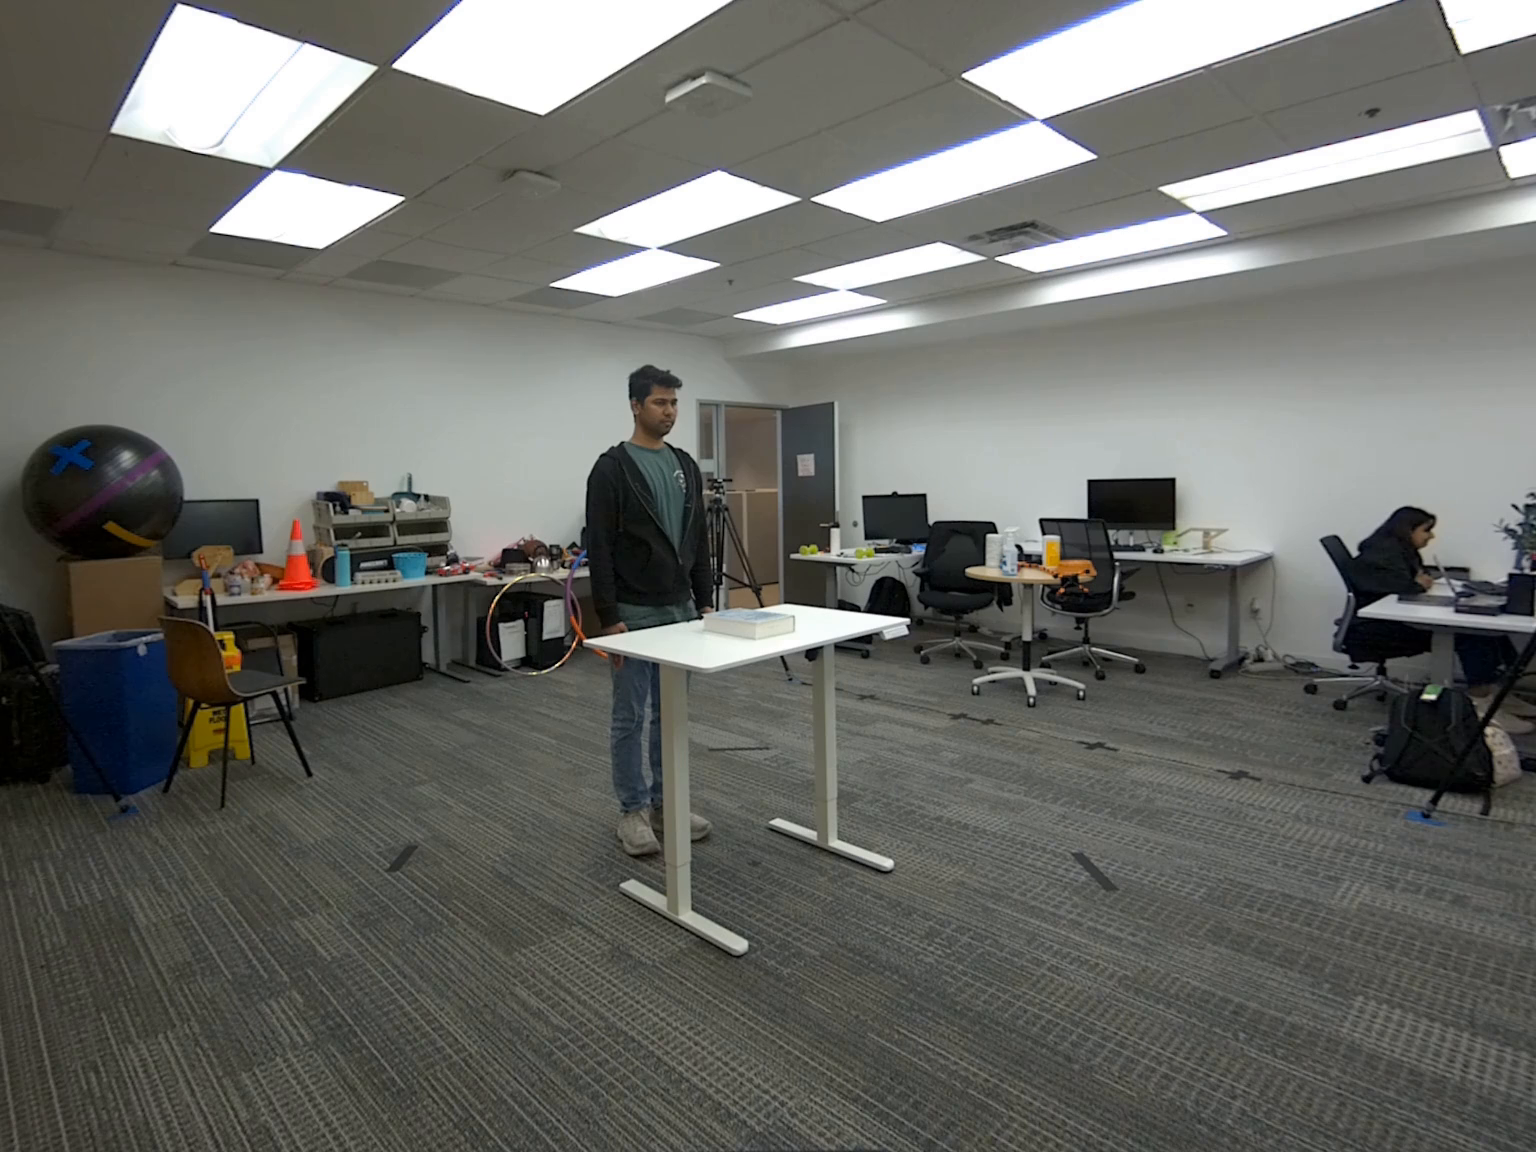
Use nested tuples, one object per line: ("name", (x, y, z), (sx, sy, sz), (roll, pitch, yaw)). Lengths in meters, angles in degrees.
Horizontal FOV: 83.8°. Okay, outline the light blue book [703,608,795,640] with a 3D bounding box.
("light blue book", (-0.068, 0.161, 2.884), (0.186, 0.059, 0.269), (-7, 8, -45))
